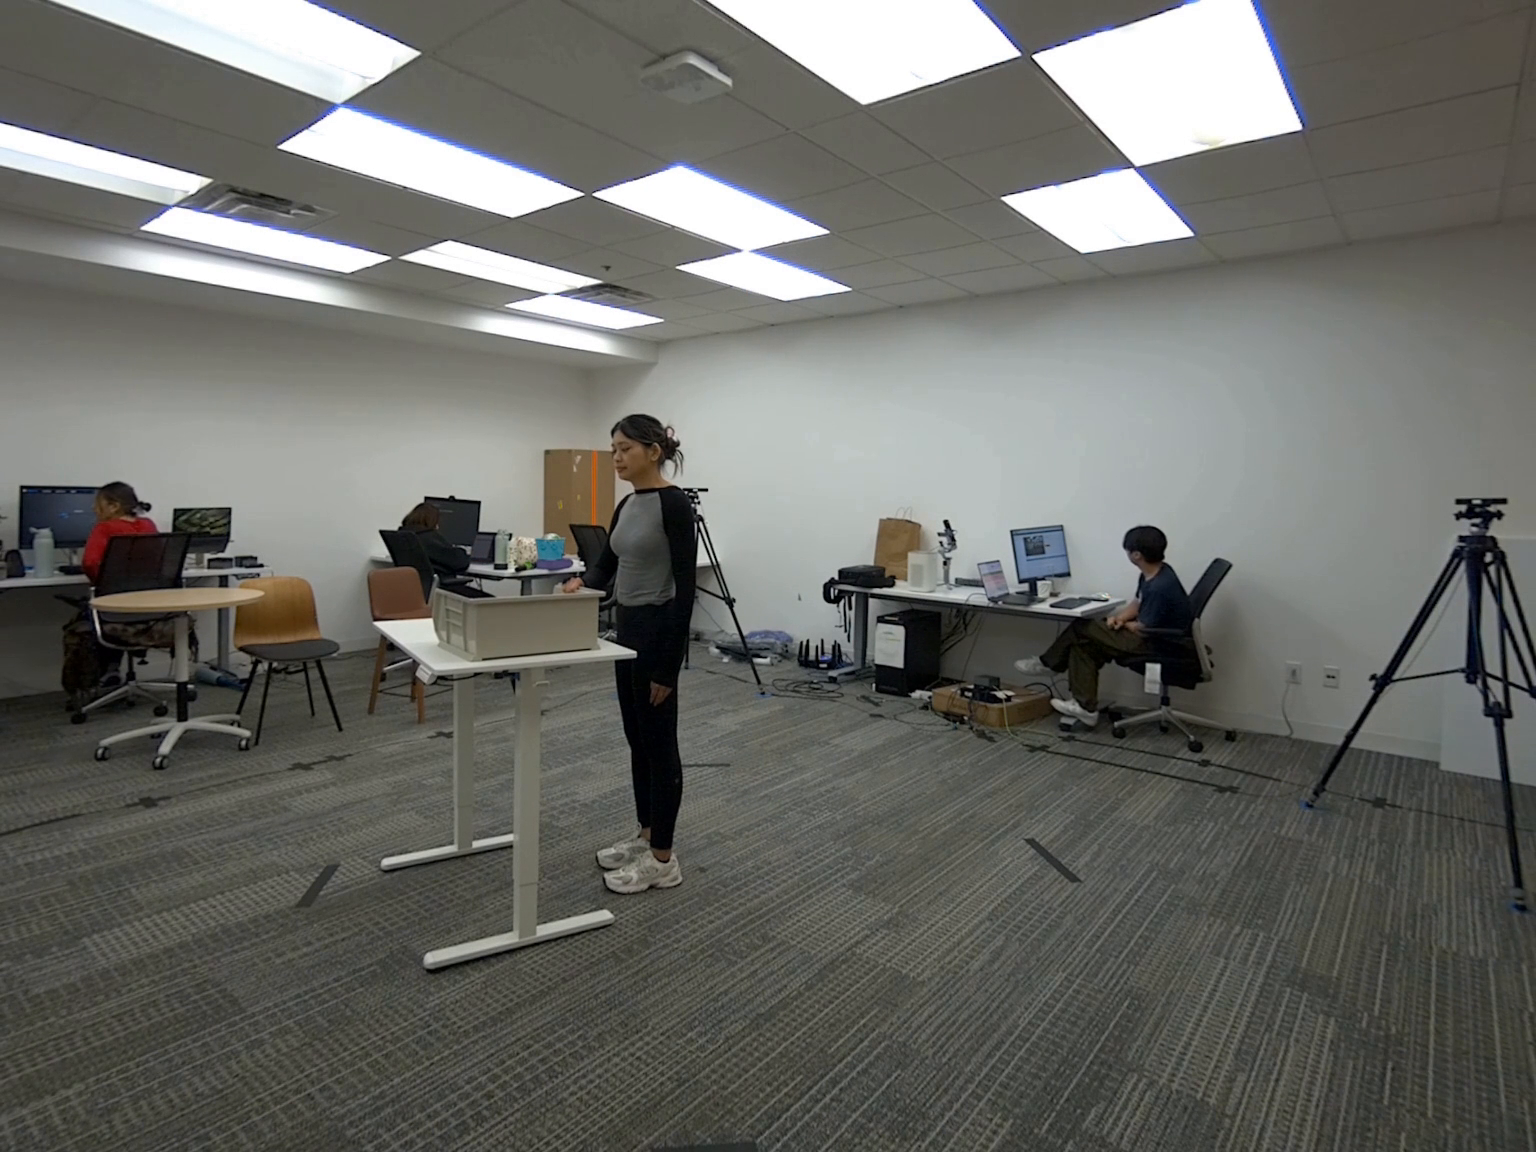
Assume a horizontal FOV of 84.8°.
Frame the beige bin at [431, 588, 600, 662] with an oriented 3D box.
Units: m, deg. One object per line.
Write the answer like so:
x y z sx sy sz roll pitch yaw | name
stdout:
-0.793 0.134 2.657 0.410 0.188 0.390 -2 7 -36 | beige bin
